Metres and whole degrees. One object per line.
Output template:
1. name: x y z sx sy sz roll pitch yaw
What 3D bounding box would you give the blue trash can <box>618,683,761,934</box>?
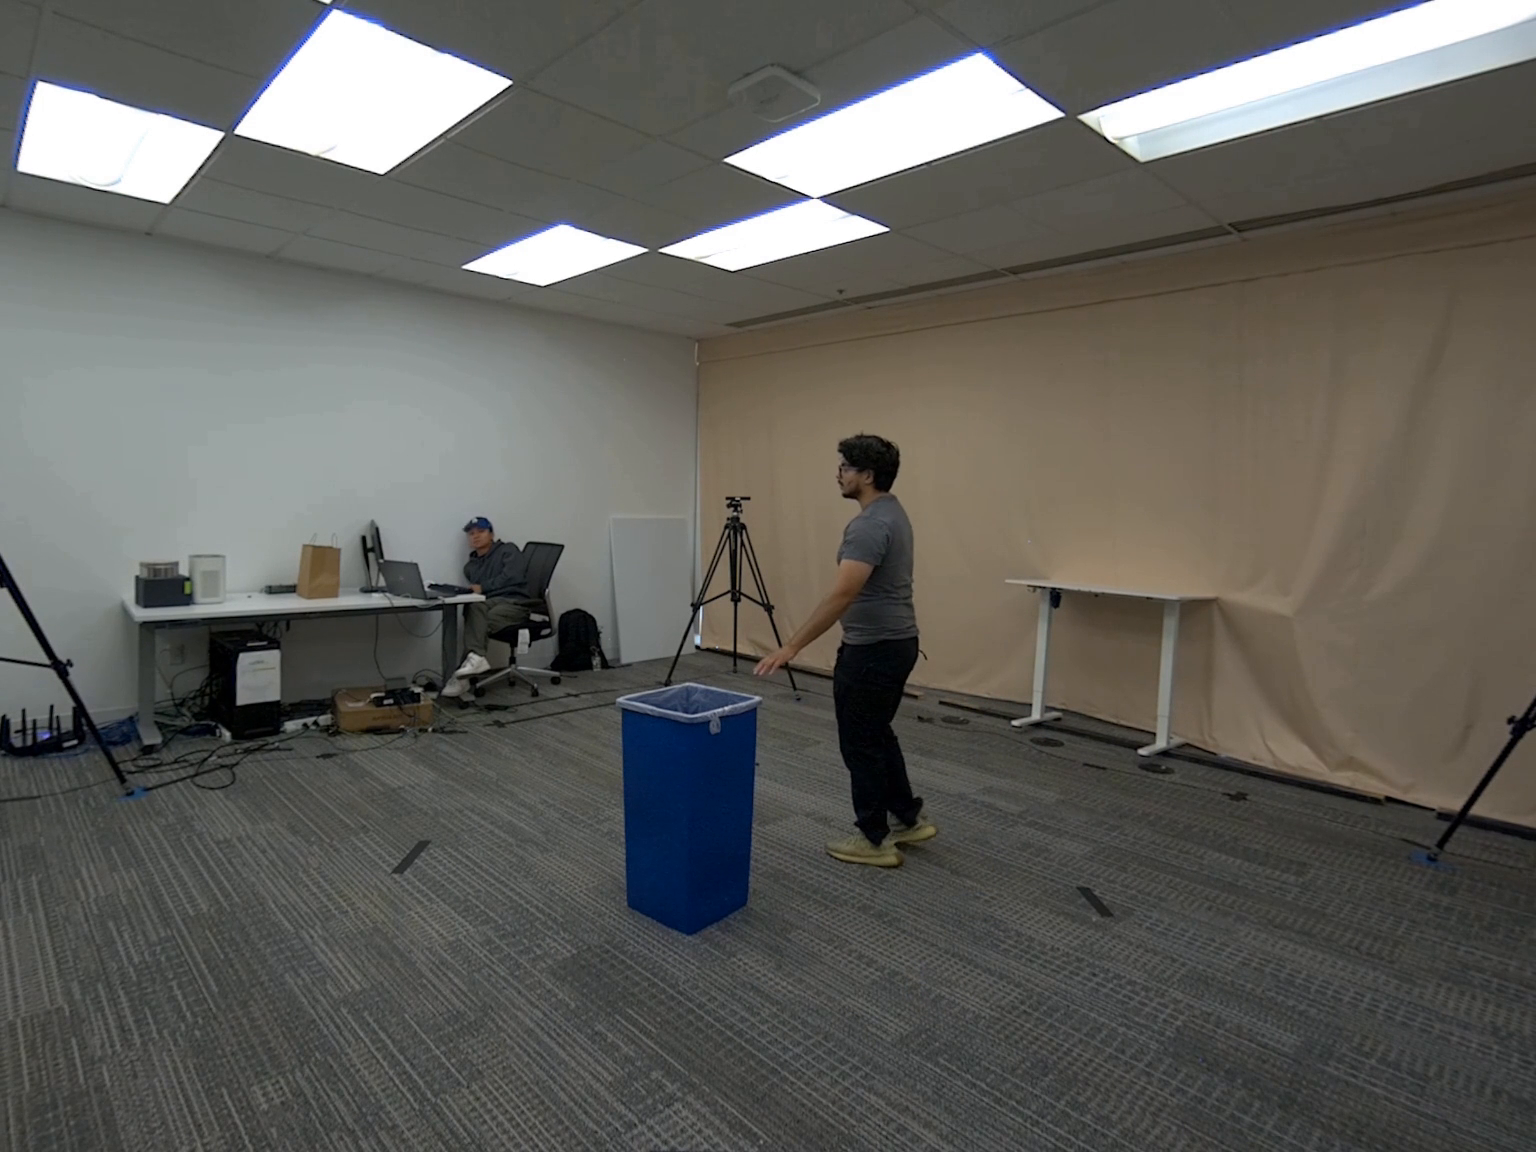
1. blue trash can: -0.282 0.769 2.861 0.383 0.712 0.369 4 4 39
